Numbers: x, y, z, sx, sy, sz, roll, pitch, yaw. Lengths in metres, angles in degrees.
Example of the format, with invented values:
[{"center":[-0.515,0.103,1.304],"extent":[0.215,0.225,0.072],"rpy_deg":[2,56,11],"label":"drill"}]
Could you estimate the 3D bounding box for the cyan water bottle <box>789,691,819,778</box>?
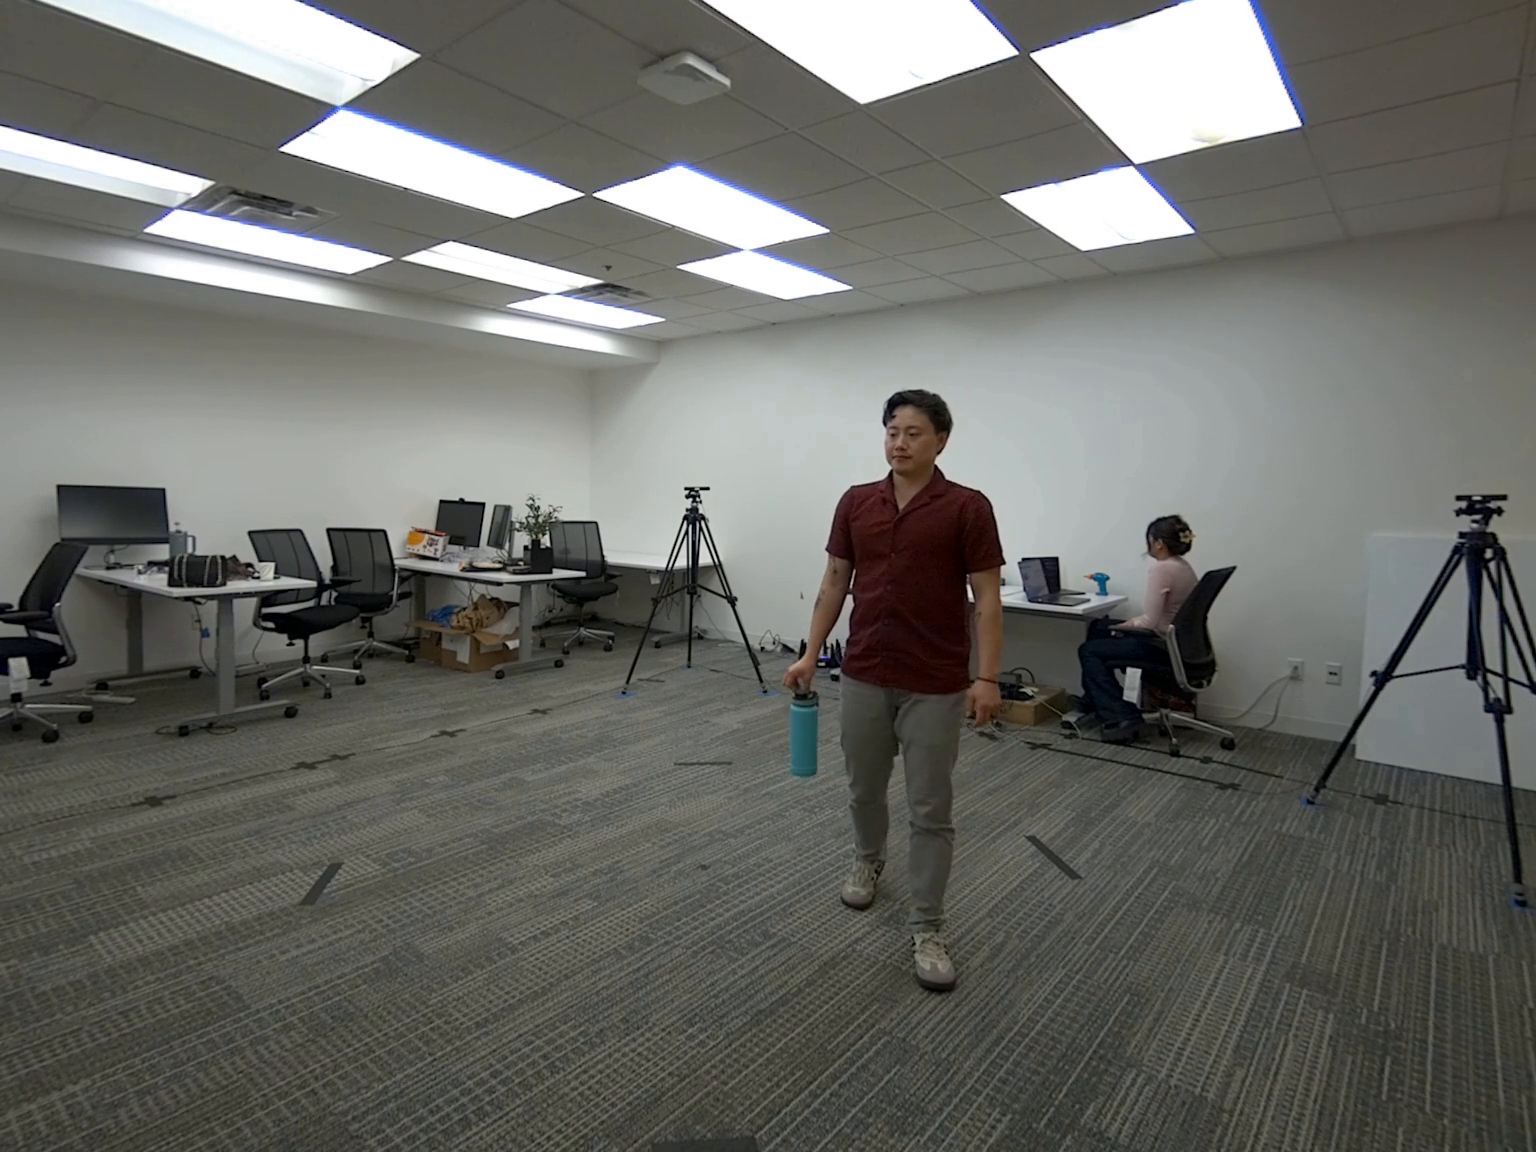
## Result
[{"center":[0.110,0.493,2.725],"extent":[0.092,0.282,0.093],"rpy_deg":[0,3,-2],"label":"cyan water bottle"}]
